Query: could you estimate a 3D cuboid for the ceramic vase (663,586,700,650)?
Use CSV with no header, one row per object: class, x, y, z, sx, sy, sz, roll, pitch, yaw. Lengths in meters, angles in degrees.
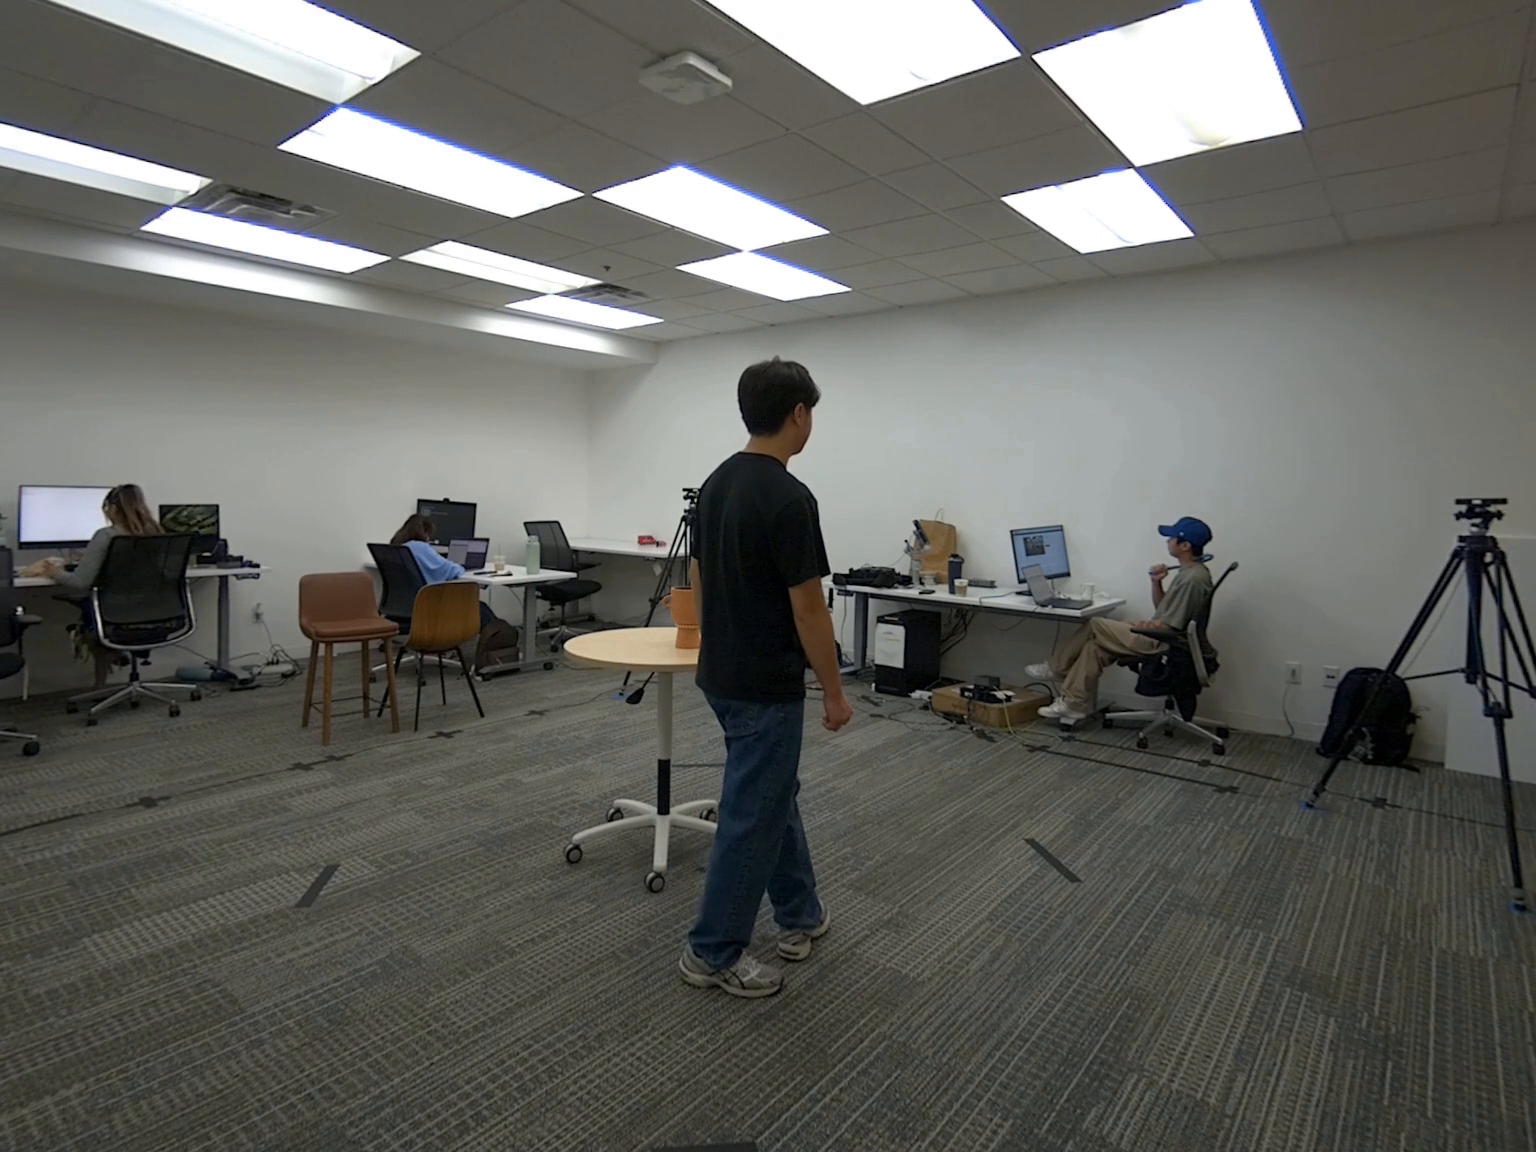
ceramic vase,-0.312,0.153,3.188,0.163,0.219,0.132,3,5,23
